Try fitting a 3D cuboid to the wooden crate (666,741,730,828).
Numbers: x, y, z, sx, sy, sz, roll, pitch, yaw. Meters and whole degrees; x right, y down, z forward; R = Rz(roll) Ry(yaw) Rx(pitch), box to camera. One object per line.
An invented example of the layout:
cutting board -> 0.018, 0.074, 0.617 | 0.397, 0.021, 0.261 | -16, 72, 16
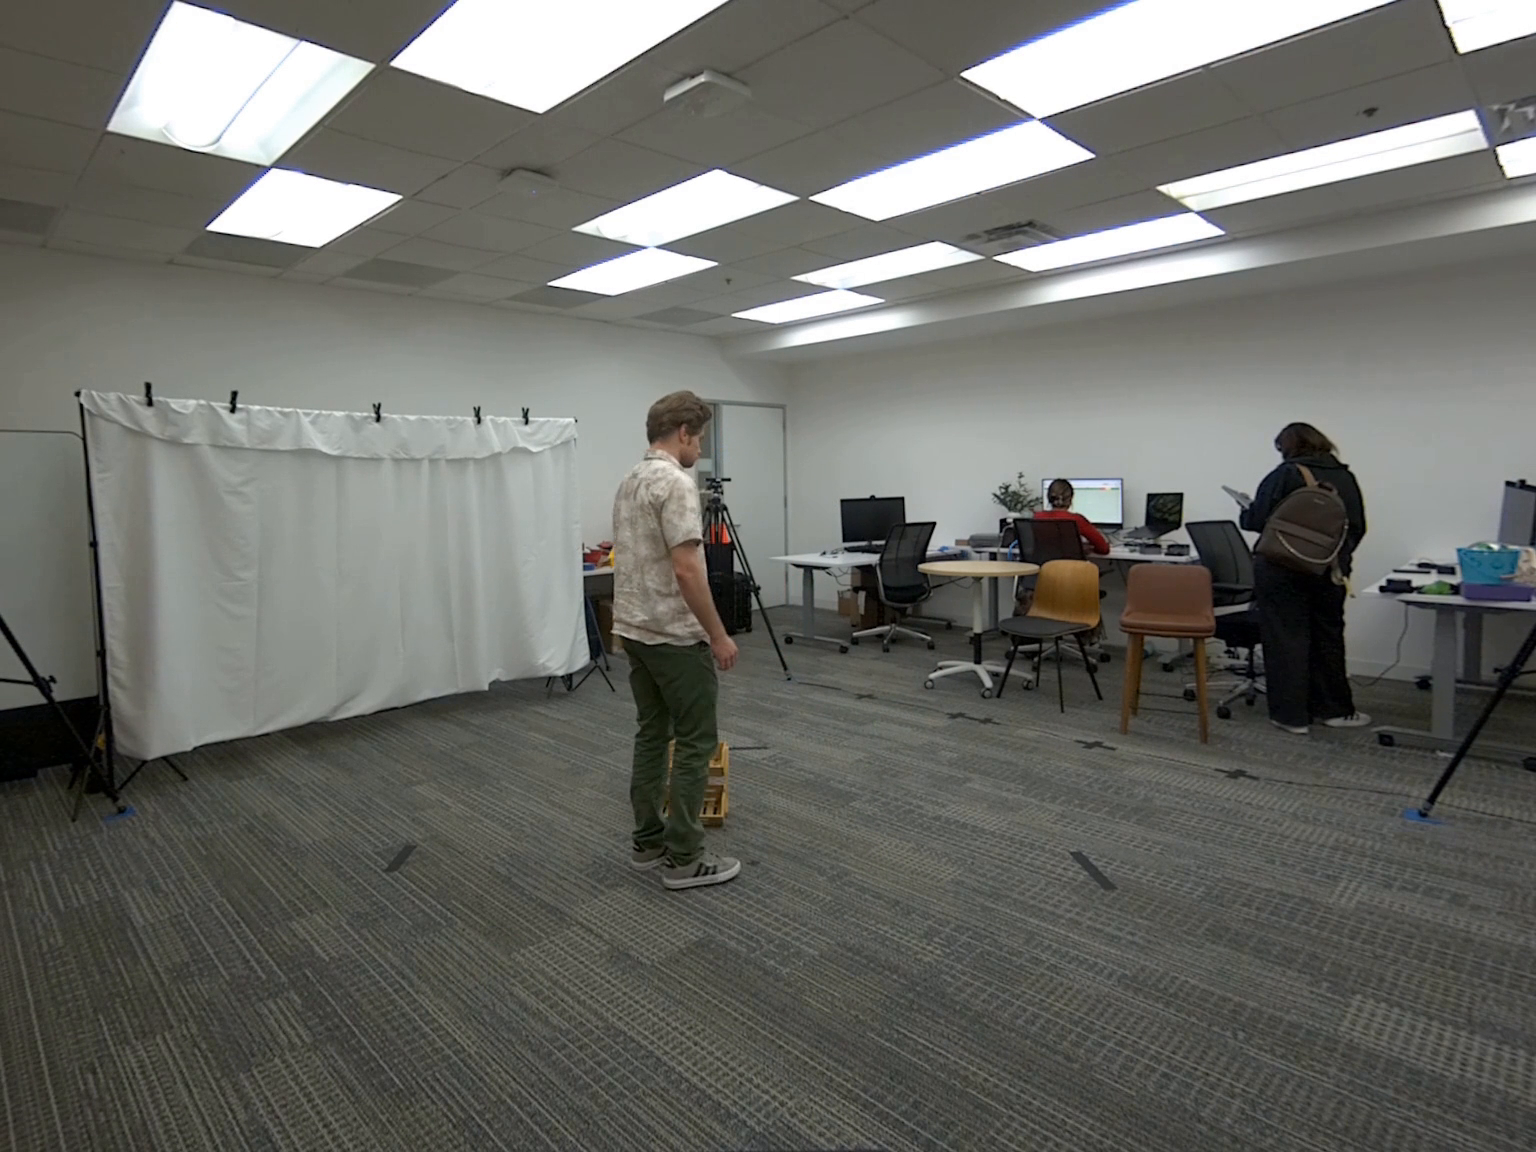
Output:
wooden crate -> -0.329, 0.862, 3.567 | 0.325, 0.272, 0.302 | -1, 4, 3
